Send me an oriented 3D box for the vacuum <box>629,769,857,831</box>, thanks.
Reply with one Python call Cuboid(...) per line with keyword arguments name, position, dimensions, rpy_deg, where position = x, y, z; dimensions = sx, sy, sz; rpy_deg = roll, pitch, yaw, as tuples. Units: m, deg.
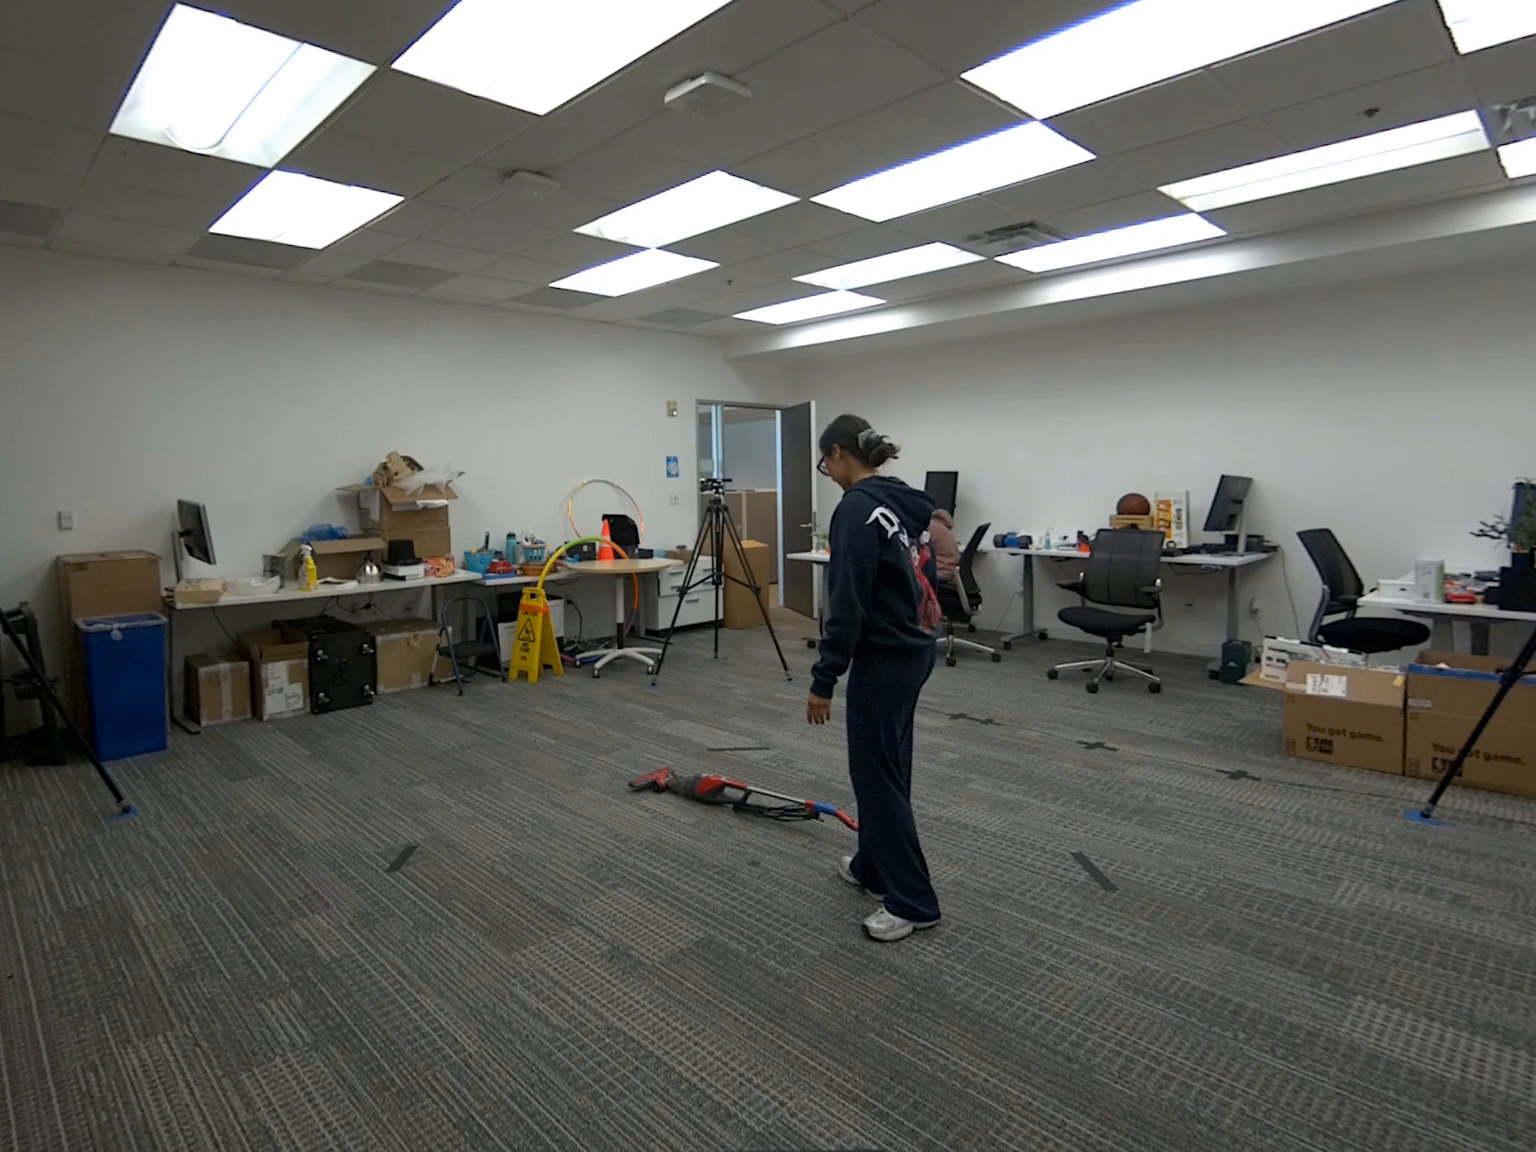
Cuboid(name="vacuum", position=(-0.088, 0.942, 3.565), dimensions=(1.080, 0.144, 0.246), rpy_deg=(2, 4, 39))
